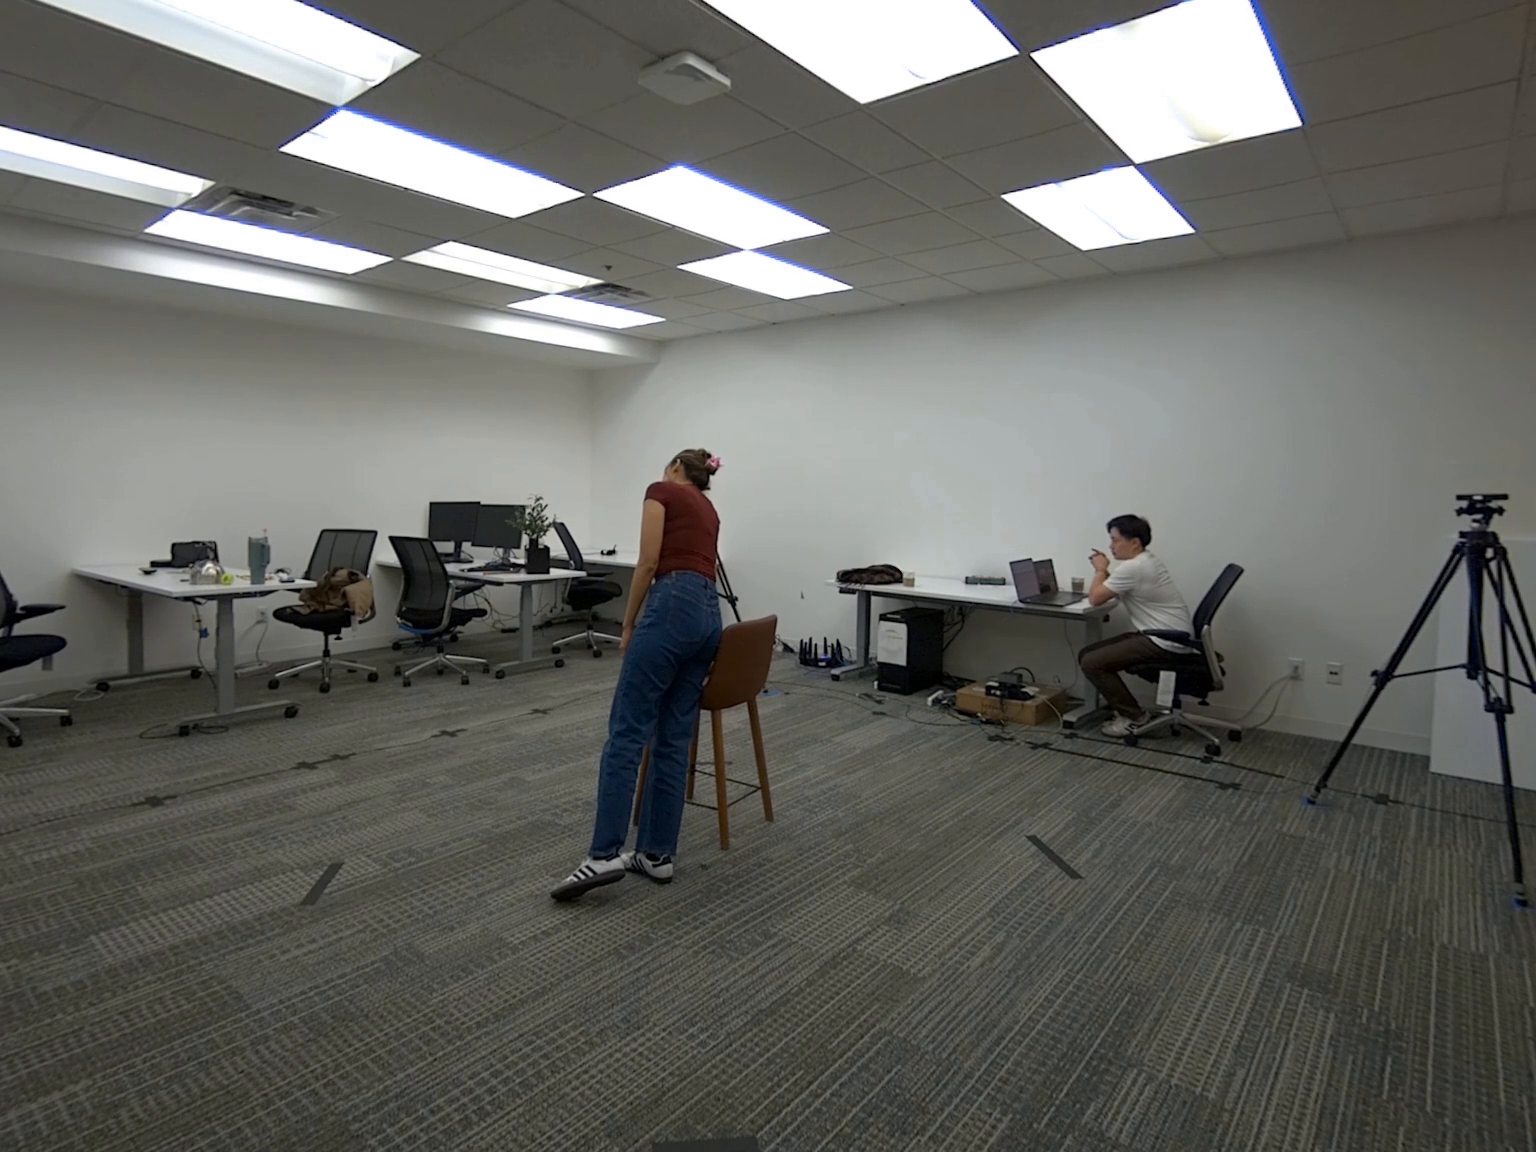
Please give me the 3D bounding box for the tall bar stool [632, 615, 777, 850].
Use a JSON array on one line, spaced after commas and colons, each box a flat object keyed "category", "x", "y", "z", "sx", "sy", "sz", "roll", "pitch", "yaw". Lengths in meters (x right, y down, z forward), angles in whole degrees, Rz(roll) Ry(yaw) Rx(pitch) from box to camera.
[{"category": "tall bar stool", "x": -0.255, "y": 0.593, "z": 3.526, "sx": 0.482, "sy": 0.887, "sz": 0.444, "roll": 5, "pitch": 4, "yaw": 31}]
